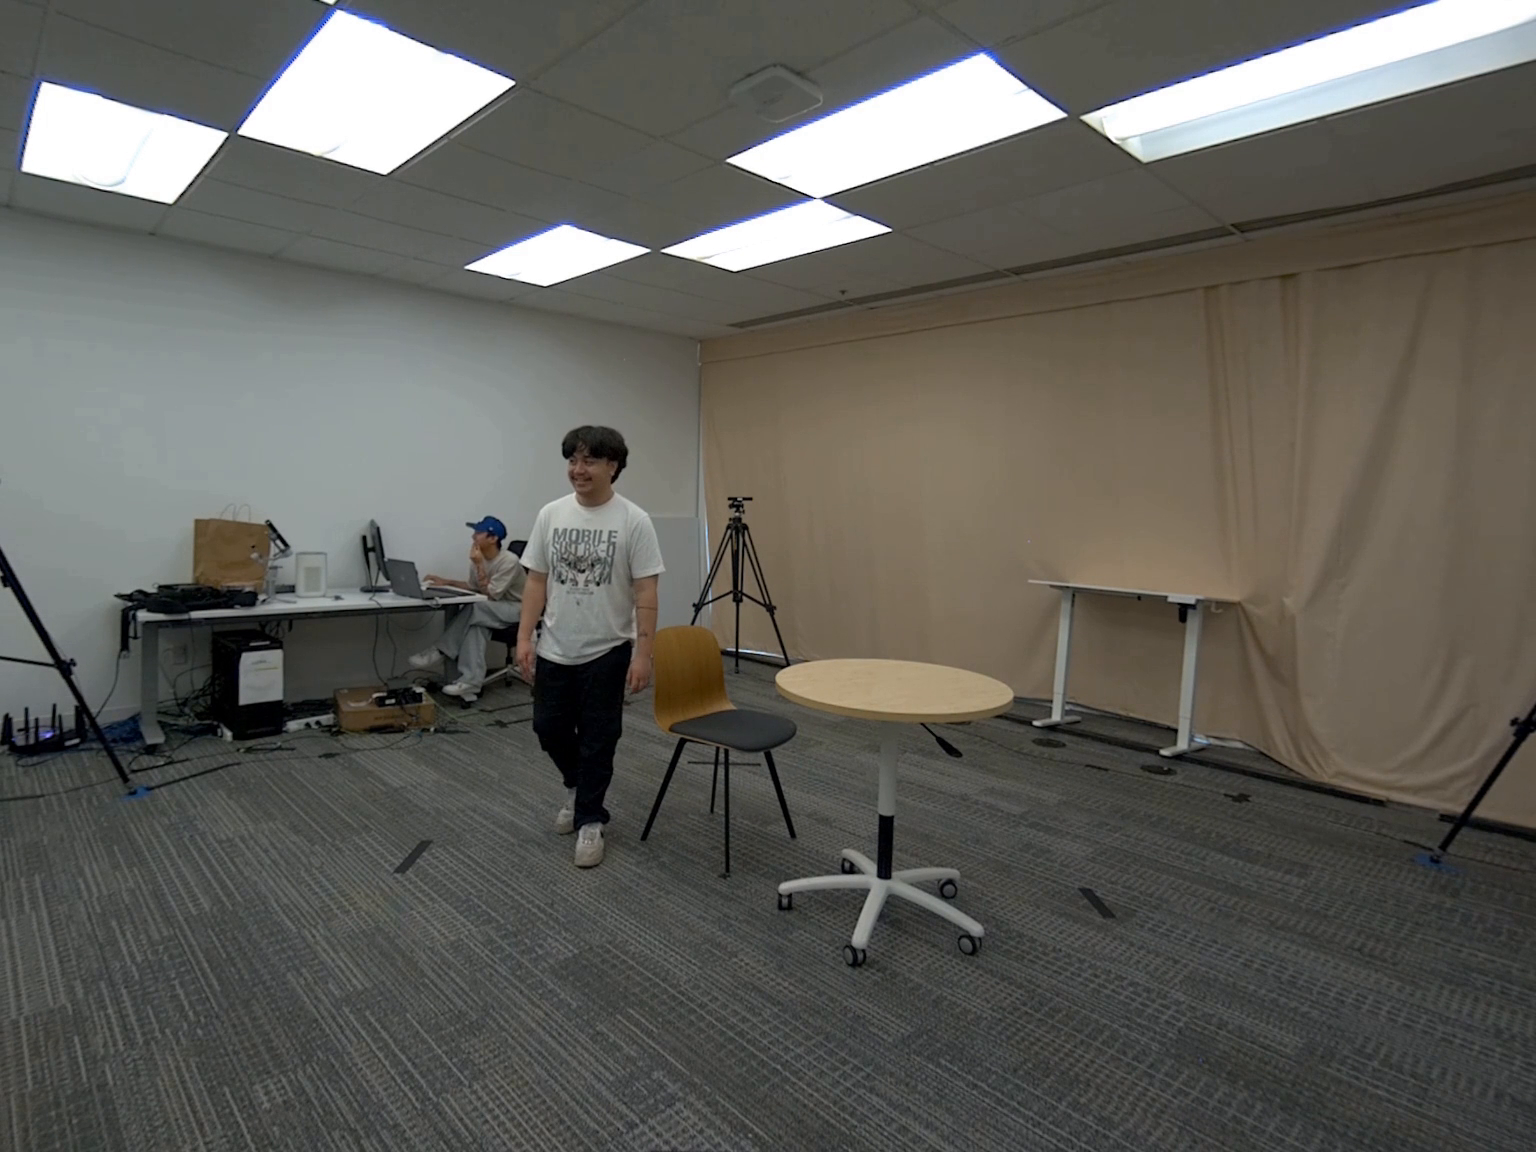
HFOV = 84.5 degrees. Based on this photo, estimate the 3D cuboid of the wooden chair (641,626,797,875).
[{"bbox_3d":[-0.187,0.653,3.408,0.535,0.877,0.467,-1,0,38],"label":"wooden chair"}]
